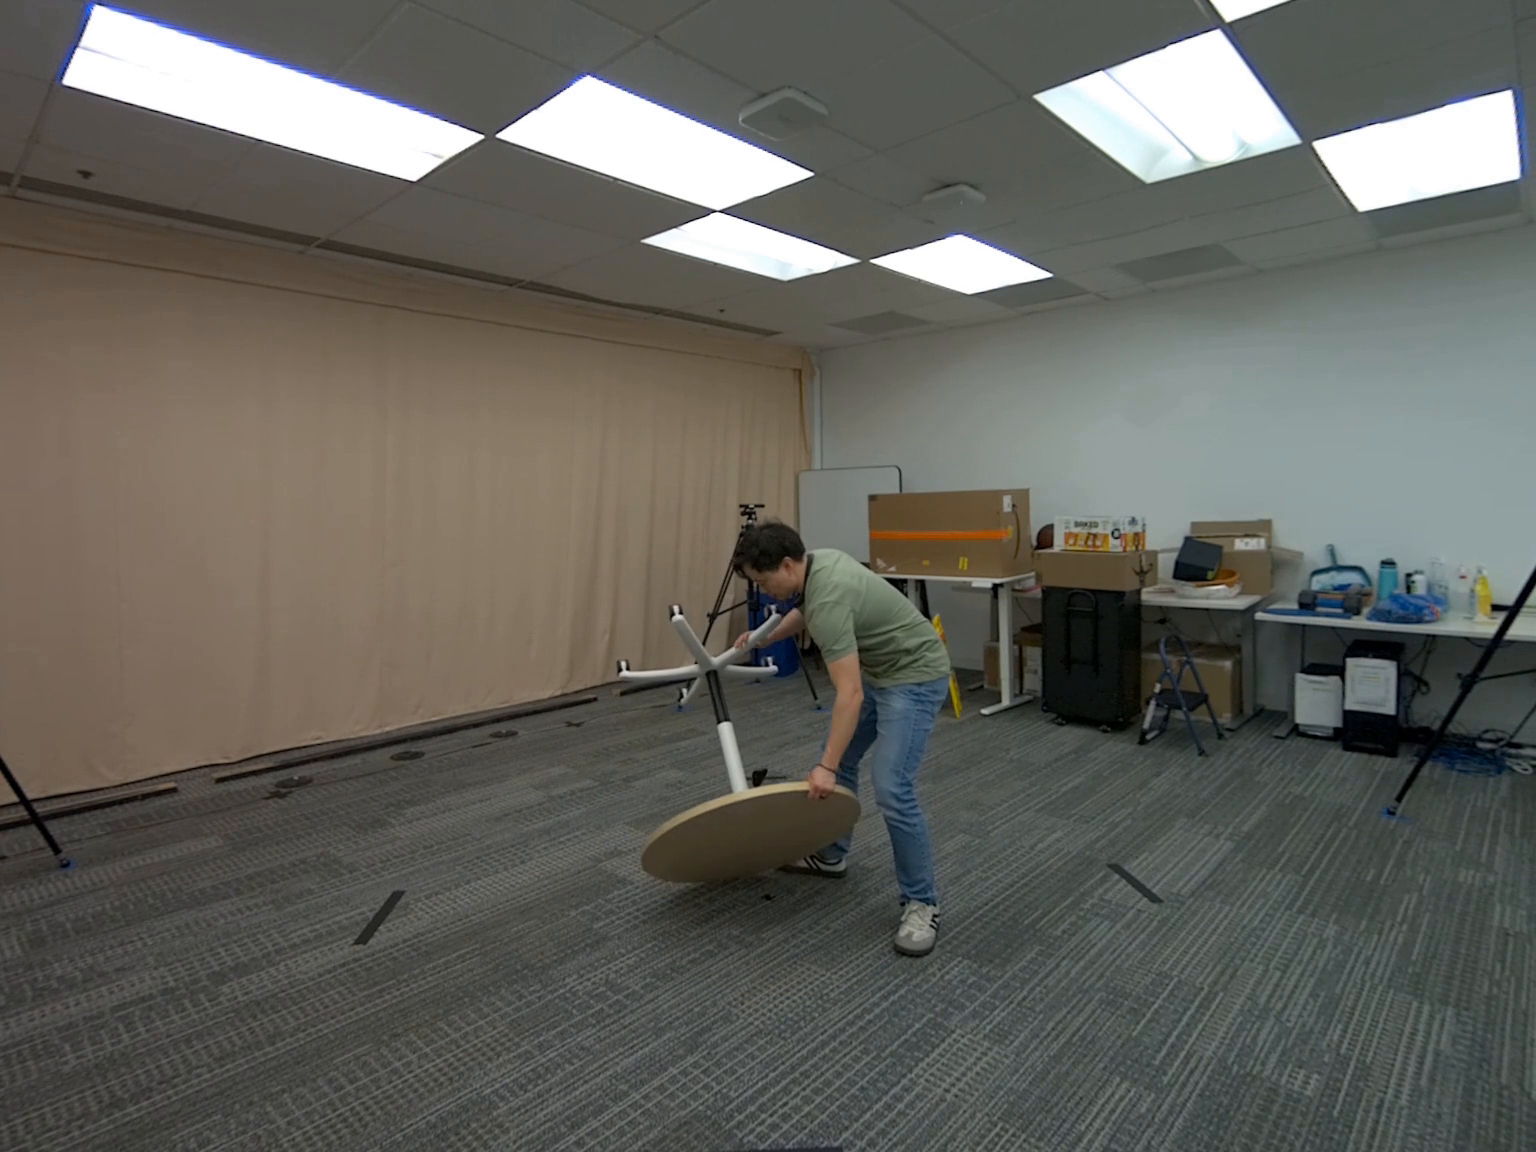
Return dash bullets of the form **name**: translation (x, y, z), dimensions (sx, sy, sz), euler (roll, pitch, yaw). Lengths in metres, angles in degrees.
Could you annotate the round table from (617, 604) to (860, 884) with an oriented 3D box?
- **round table**: translation (-0.156, 0.581, 3.097), dimensions (0.758, 0.814, 0.751), euler (-10, -36, -9)
